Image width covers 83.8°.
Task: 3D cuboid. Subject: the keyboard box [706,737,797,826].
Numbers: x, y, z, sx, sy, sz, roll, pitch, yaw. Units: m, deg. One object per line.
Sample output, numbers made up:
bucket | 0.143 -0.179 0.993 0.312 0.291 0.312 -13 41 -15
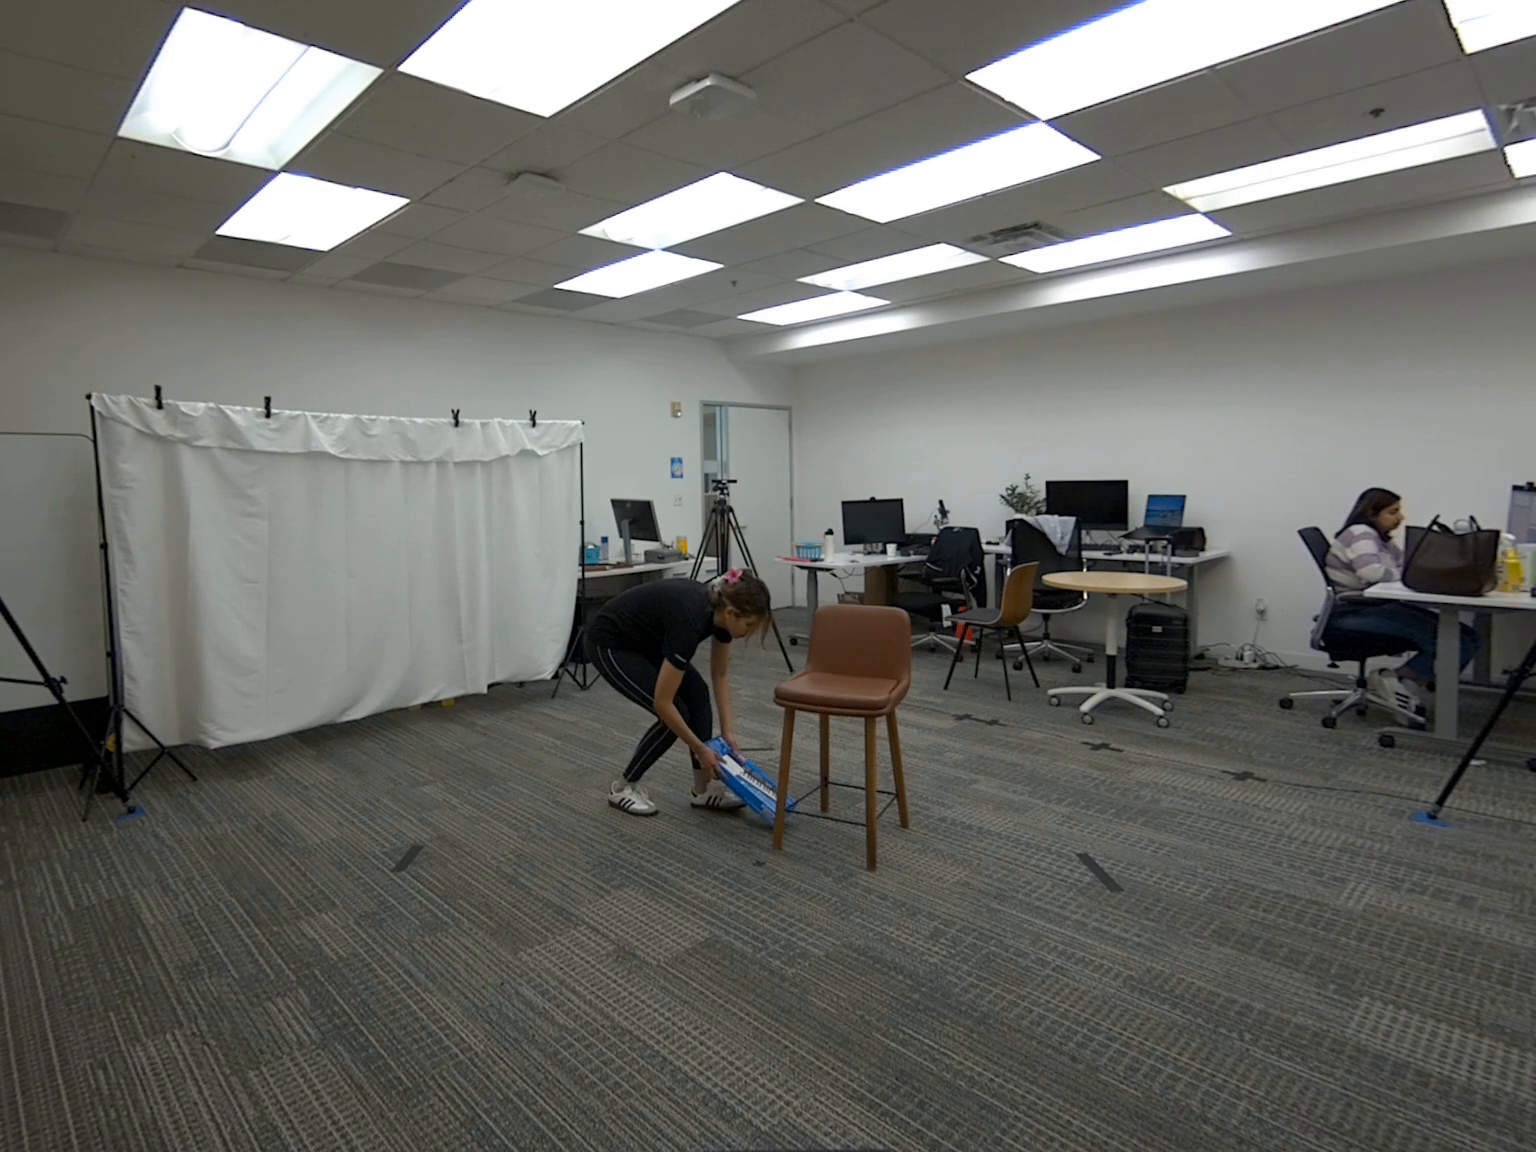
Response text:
keyboard box | -0.088 0.836 3.500 0.450 0.059 0.172 34 19 24
